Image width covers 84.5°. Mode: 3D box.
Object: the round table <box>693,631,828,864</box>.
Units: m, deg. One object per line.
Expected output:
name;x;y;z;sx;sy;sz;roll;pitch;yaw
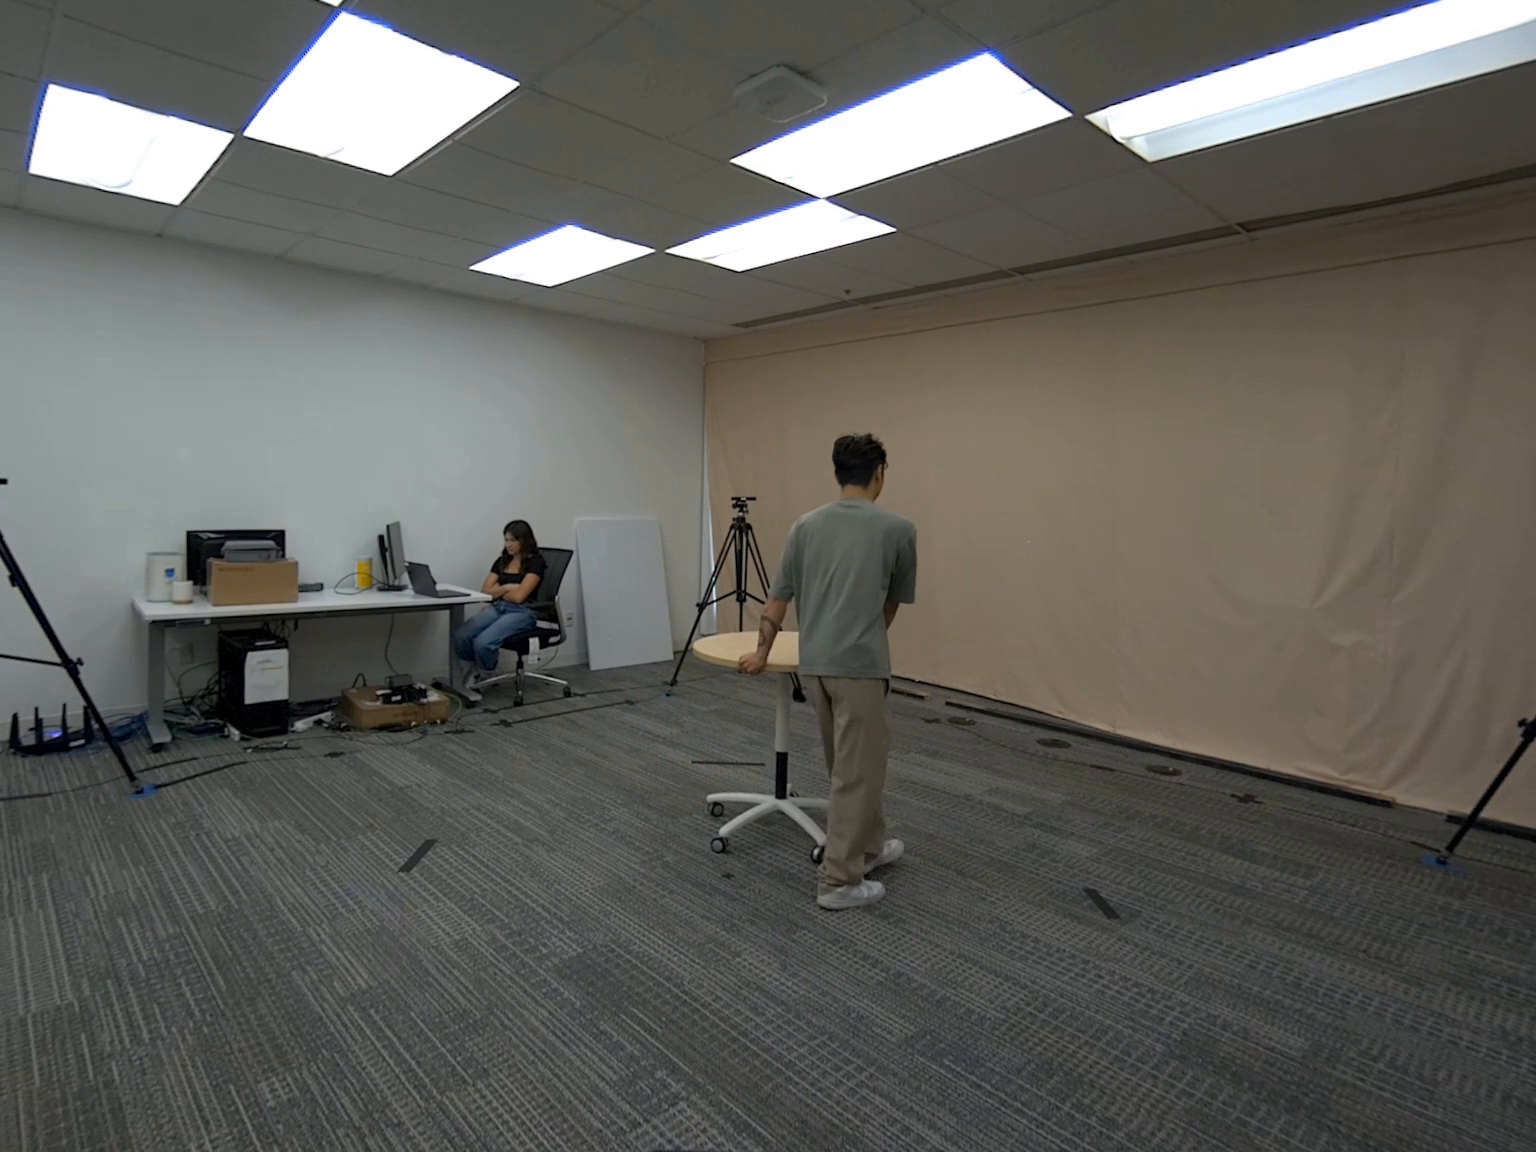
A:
round table;0.056;0.682;3.540;0.784;0.784;0.788;1;4;-1
